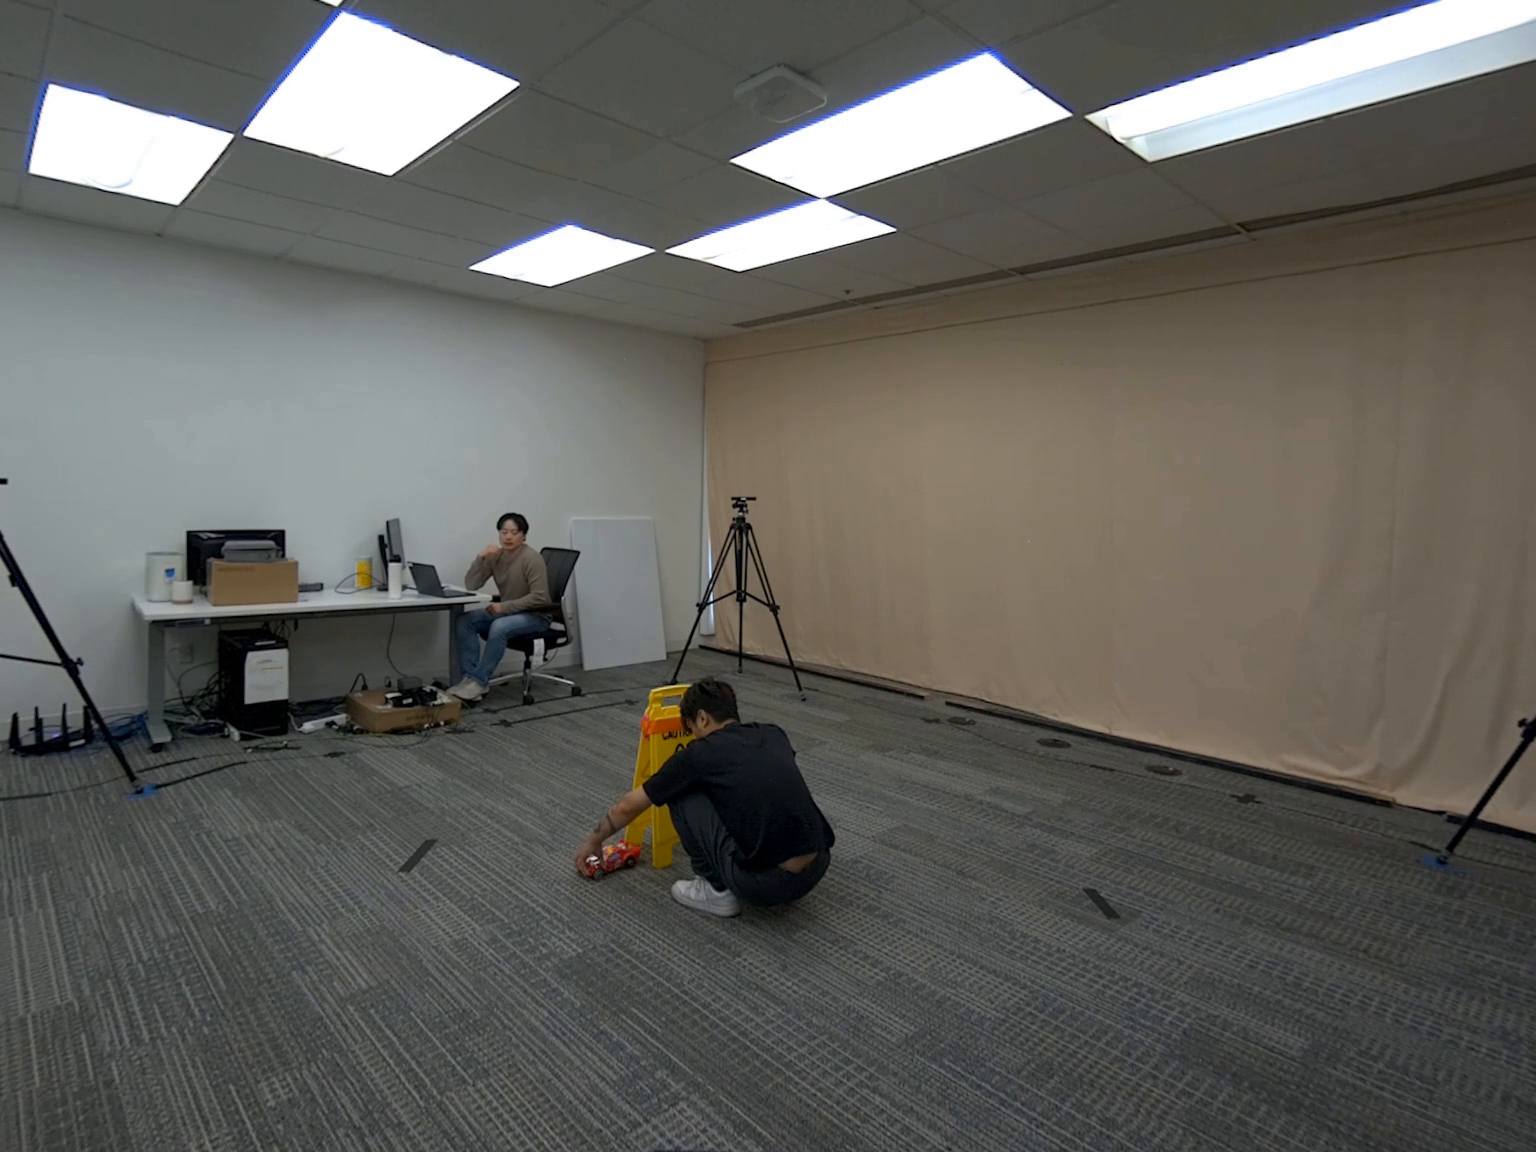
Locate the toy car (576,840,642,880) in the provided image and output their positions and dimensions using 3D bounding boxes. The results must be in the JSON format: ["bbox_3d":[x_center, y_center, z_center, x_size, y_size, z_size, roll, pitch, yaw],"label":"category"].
[{"bbox_3d":[-0.589,1.055,3.150,0.251,0.082,0.133,-20,18,-41],"label":"toy car"}]
